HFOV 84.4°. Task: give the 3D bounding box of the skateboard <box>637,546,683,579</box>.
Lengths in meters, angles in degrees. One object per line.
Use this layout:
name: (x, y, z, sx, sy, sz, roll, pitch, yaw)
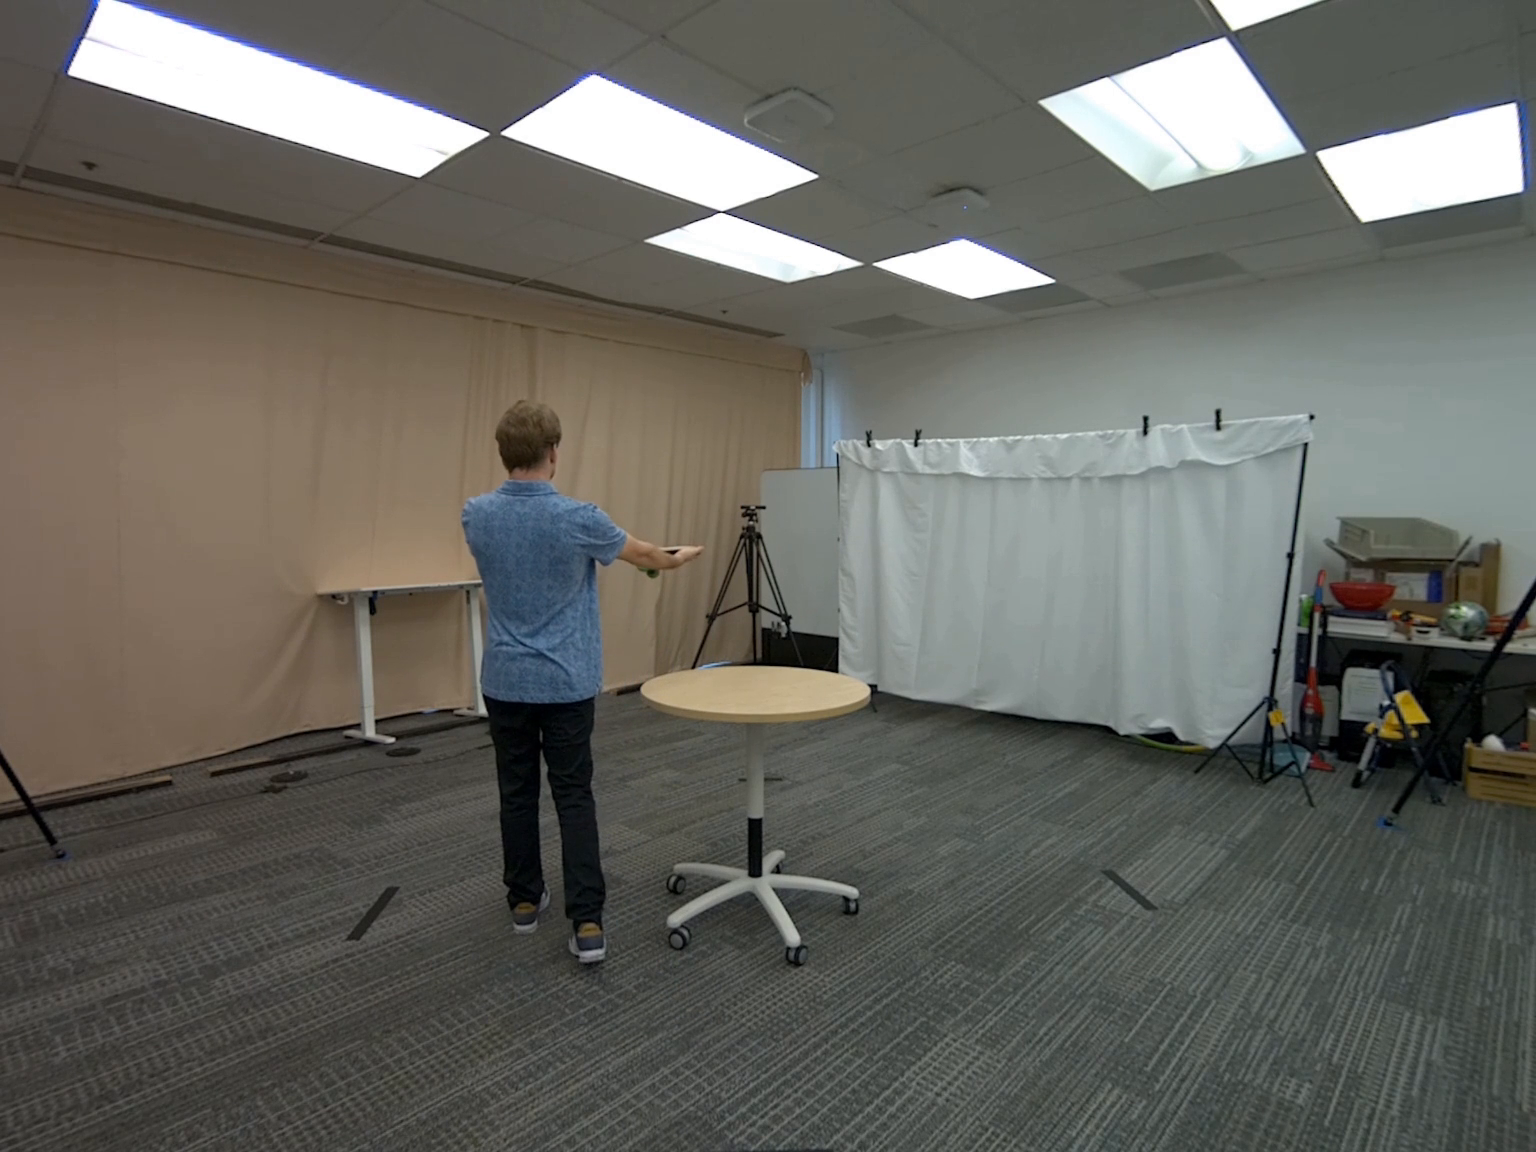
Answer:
skateboard: (-0.644, -0.074, 3.253, 0.790, 0.111, 0.191, 2, -12, 5)
